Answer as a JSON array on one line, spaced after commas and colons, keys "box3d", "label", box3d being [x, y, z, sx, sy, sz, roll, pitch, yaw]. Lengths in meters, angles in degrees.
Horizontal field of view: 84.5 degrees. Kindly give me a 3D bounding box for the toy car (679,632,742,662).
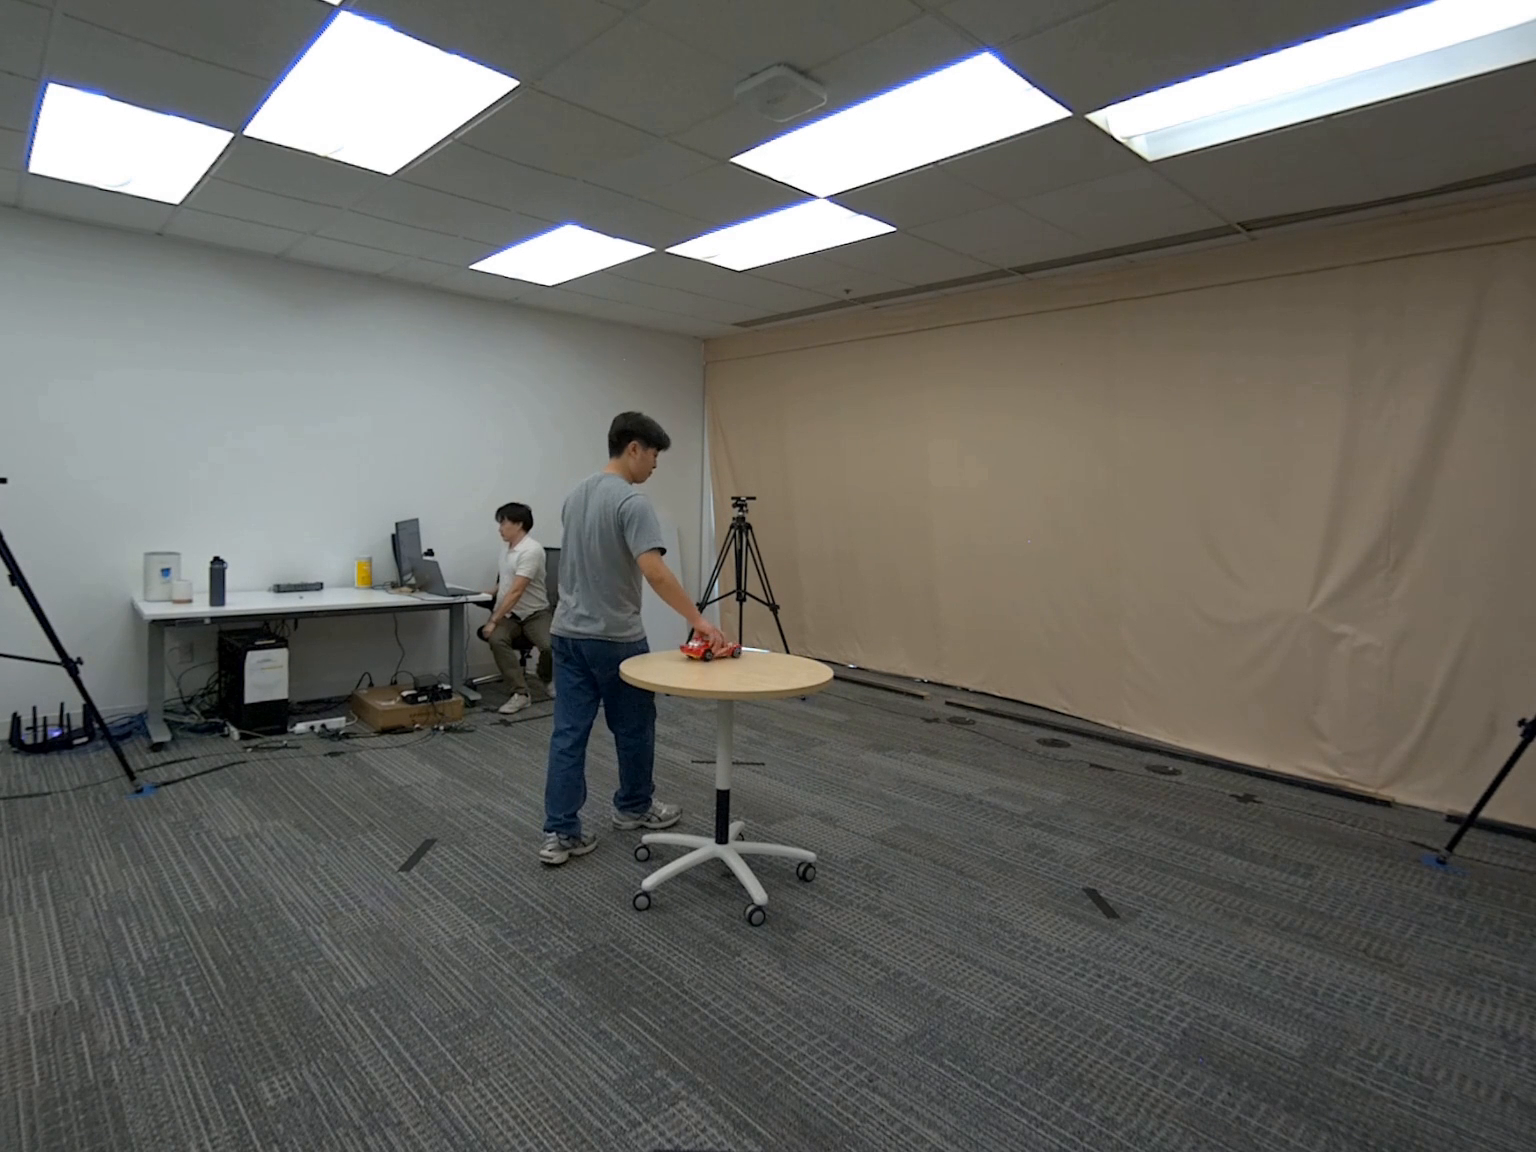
[{"box3d": [-0.233, 0.282, 3.185, 0.247, 0.083, 0.134, 13, -4, -41], "label": "toy car"}]
